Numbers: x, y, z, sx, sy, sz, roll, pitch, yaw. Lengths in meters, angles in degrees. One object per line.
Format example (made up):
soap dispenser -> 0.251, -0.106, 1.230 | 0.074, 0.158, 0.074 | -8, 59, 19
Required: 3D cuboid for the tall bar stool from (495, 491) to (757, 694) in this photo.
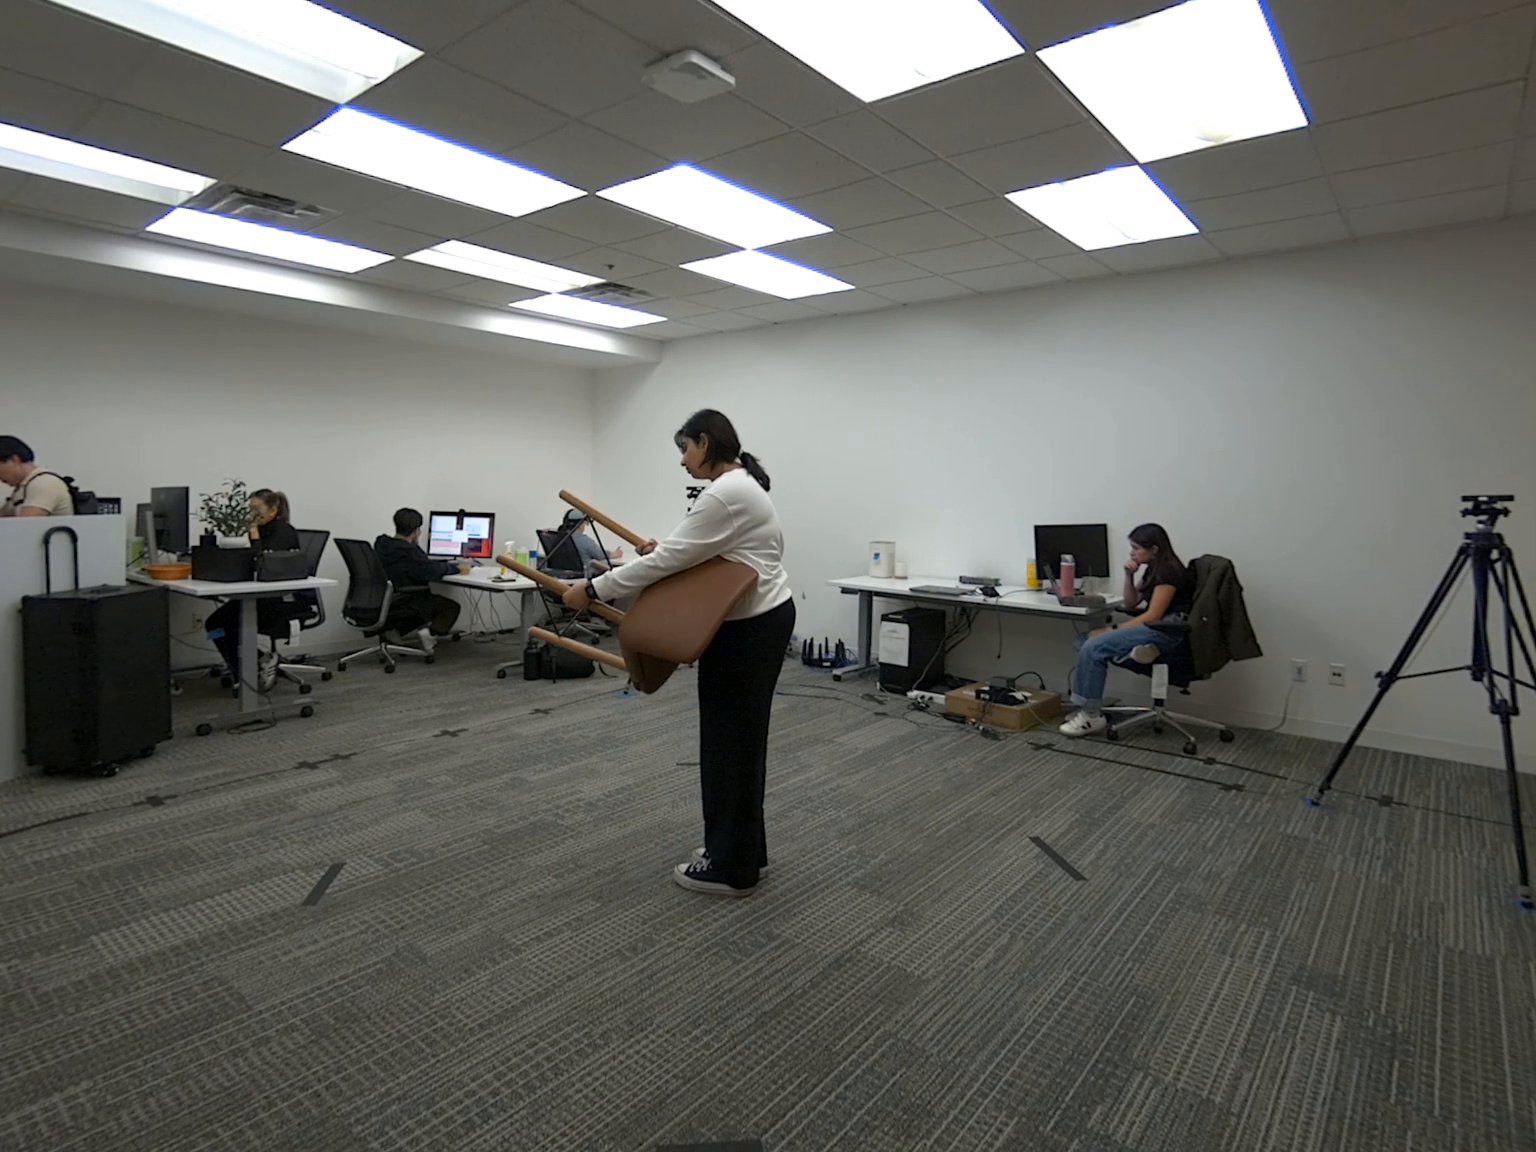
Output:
tall bar stool -> -0.480, 0.092, 3.020 | 0.920, 0.451, 0.457 | 23, 57, 28
